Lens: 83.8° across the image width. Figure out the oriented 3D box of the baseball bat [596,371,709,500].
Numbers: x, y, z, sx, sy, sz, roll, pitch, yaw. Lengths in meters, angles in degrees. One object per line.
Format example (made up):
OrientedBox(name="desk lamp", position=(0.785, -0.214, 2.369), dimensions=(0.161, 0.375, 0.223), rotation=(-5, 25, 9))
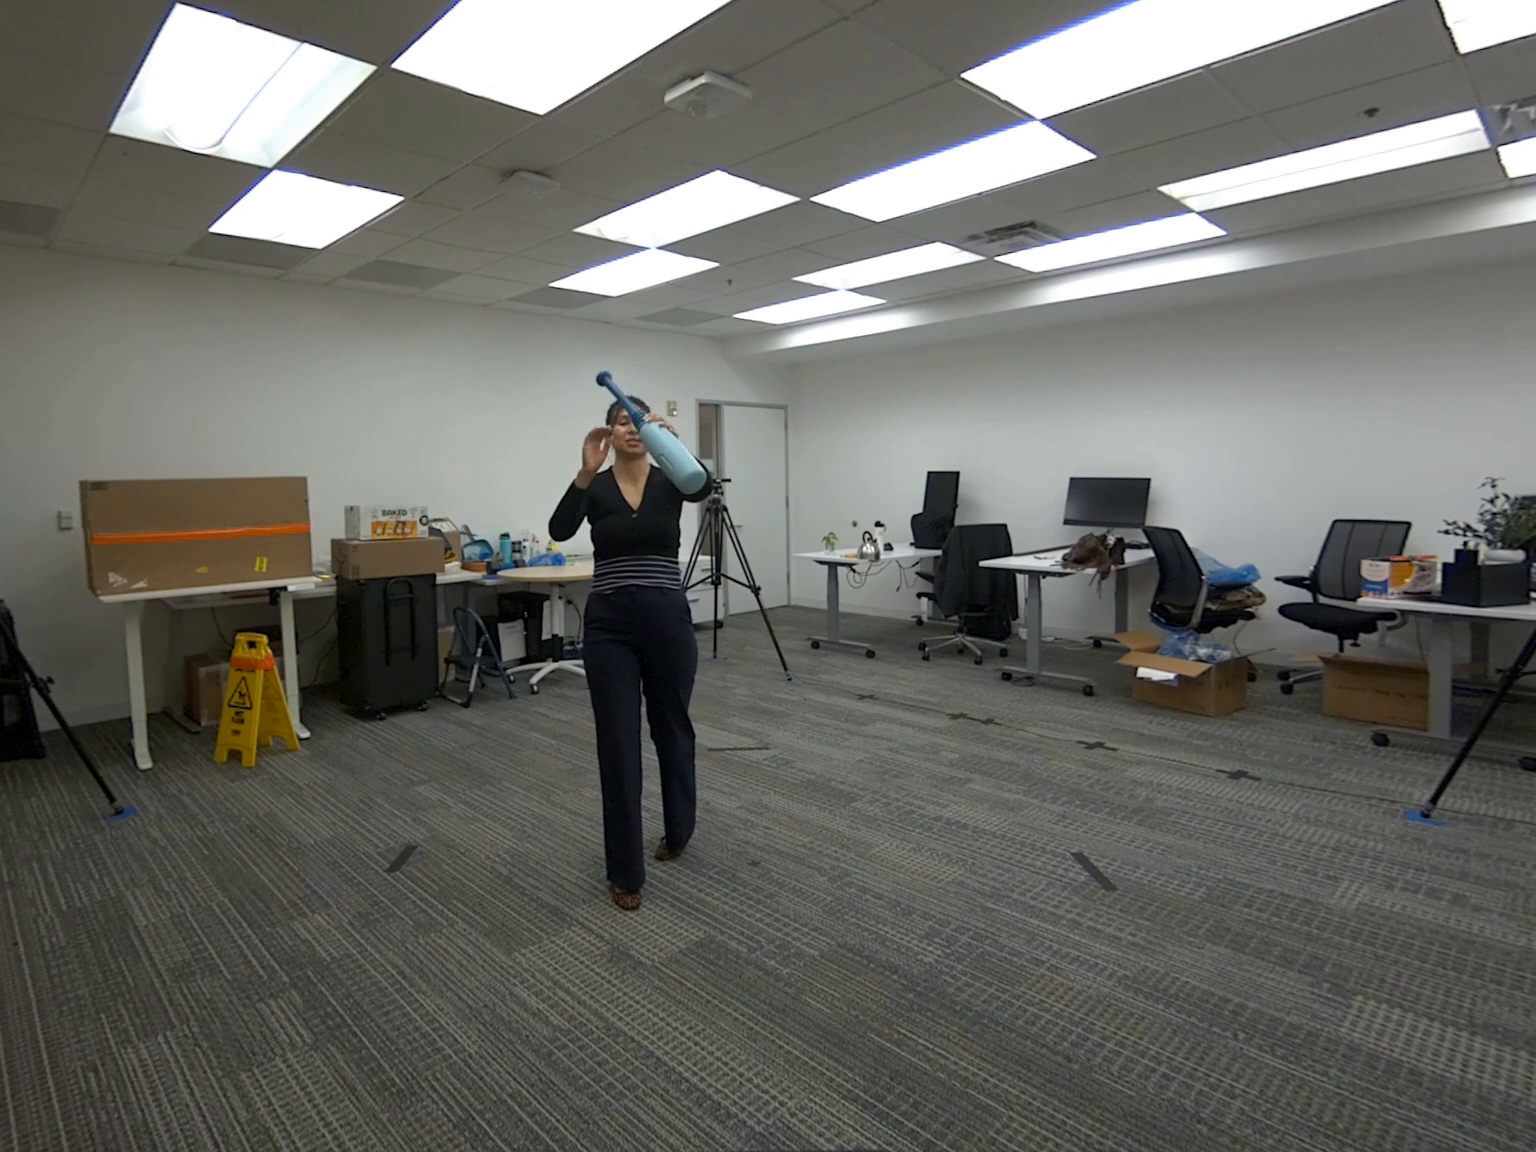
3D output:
OrientedBox(name="baseball bat", position=(-0.344, -0.428, 2.443), dimensions=(0.087, 0.088, 0.563), rotation=(-5, 44, -42))
